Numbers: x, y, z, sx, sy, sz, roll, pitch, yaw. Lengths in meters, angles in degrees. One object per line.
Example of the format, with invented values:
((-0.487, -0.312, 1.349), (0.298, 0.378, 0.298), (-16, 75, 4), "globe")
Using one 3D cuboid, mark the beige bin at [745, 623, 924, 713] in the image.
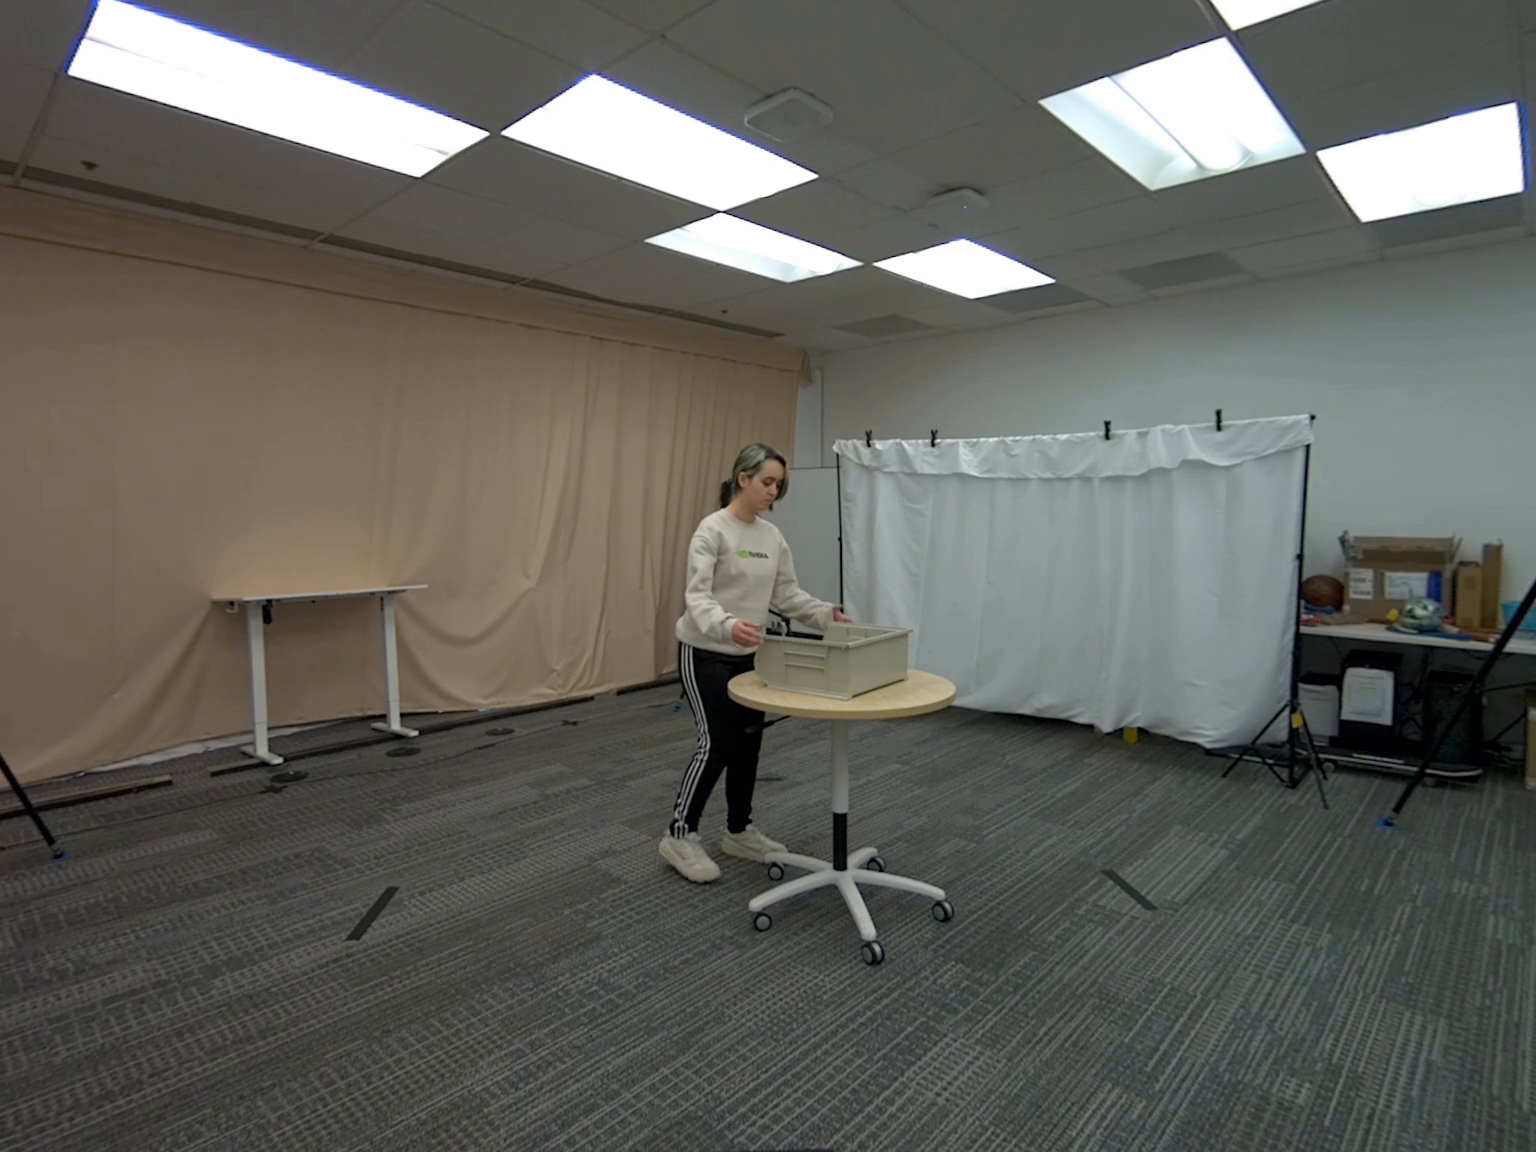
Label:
((0.230, 0.279, 2.887), (0.390, 0.188, 0.409), (4, 6, 39), "beige bin")
